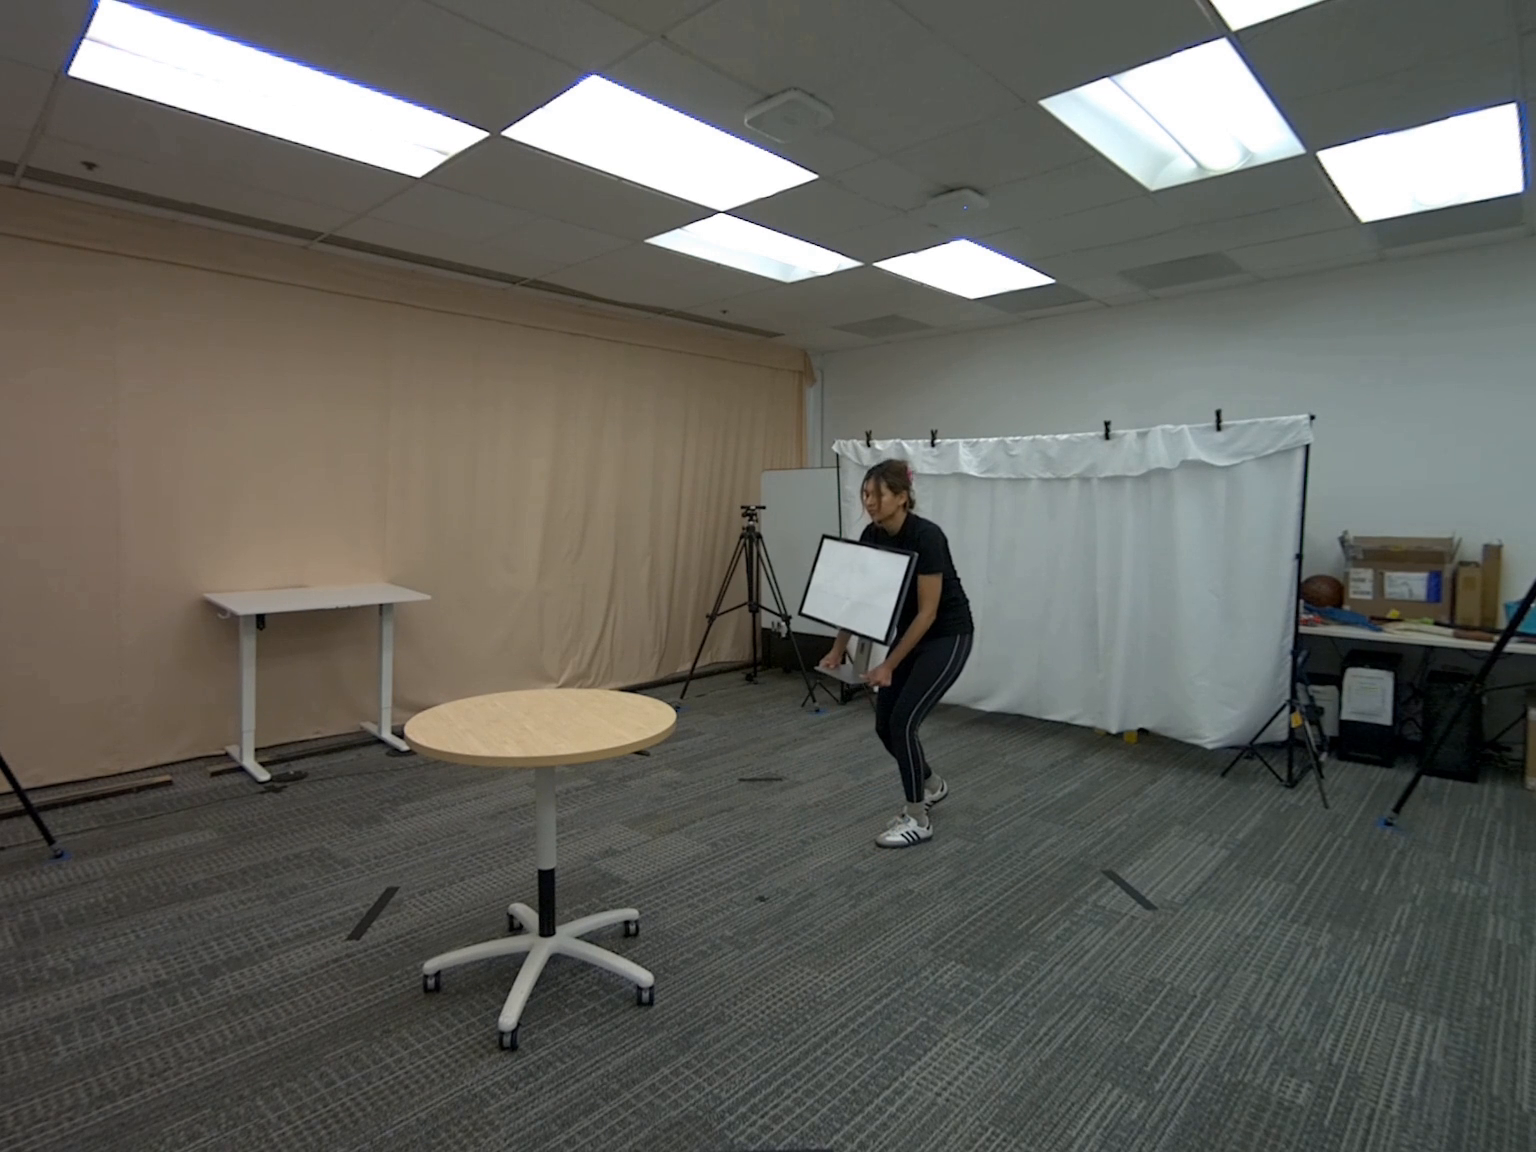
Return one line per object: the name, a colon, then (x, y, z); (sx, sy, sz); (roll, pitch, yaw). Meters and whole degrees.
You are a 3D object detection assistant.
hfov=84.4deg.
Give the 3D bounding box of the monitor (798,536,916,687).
monitor: (0.366, 0.137, 3.376); (0.181, 0.521, 0.557); (1, 8, -34)
